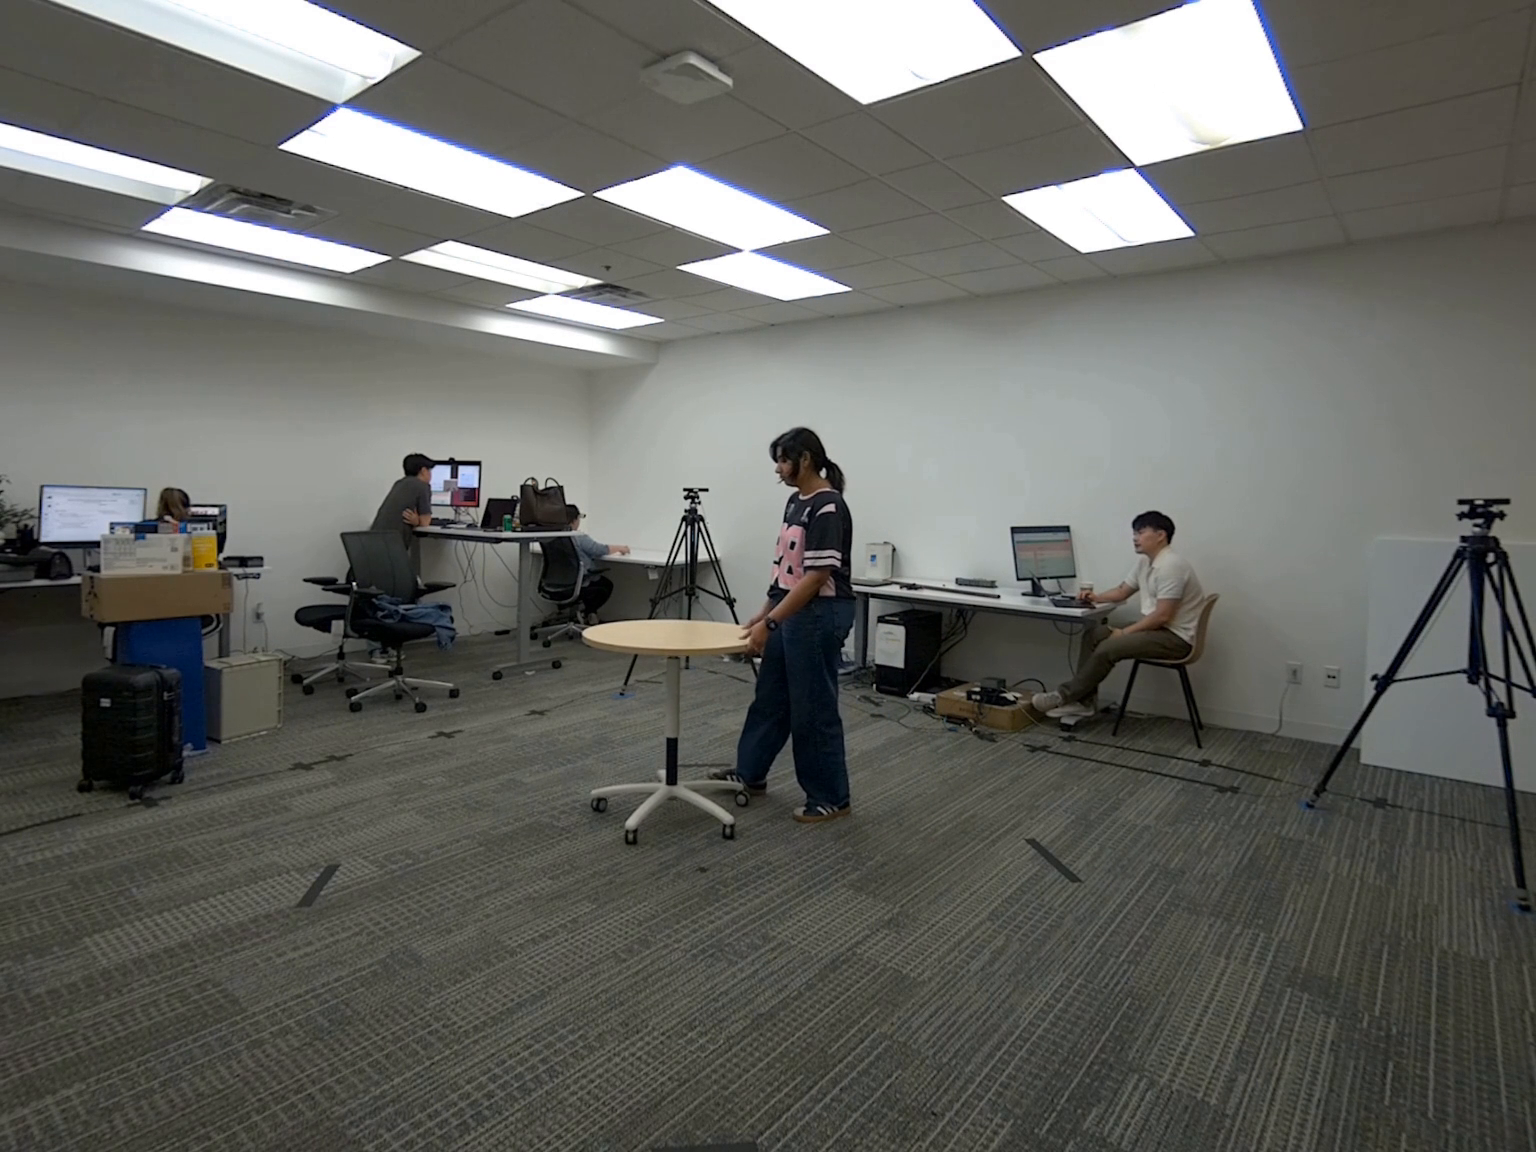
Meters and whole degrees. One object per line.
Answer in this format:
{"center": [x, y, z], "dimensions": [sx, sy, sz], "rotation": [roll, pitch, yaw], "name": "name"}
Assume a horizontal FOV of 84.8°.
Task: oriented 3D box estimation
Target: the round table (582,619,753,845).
{"center": [-0.430, 0.626, 3.579], "dimensions": [0.784, 0.784, 0.788], "rotation": [2, 4, -2], "name": "round table"}
